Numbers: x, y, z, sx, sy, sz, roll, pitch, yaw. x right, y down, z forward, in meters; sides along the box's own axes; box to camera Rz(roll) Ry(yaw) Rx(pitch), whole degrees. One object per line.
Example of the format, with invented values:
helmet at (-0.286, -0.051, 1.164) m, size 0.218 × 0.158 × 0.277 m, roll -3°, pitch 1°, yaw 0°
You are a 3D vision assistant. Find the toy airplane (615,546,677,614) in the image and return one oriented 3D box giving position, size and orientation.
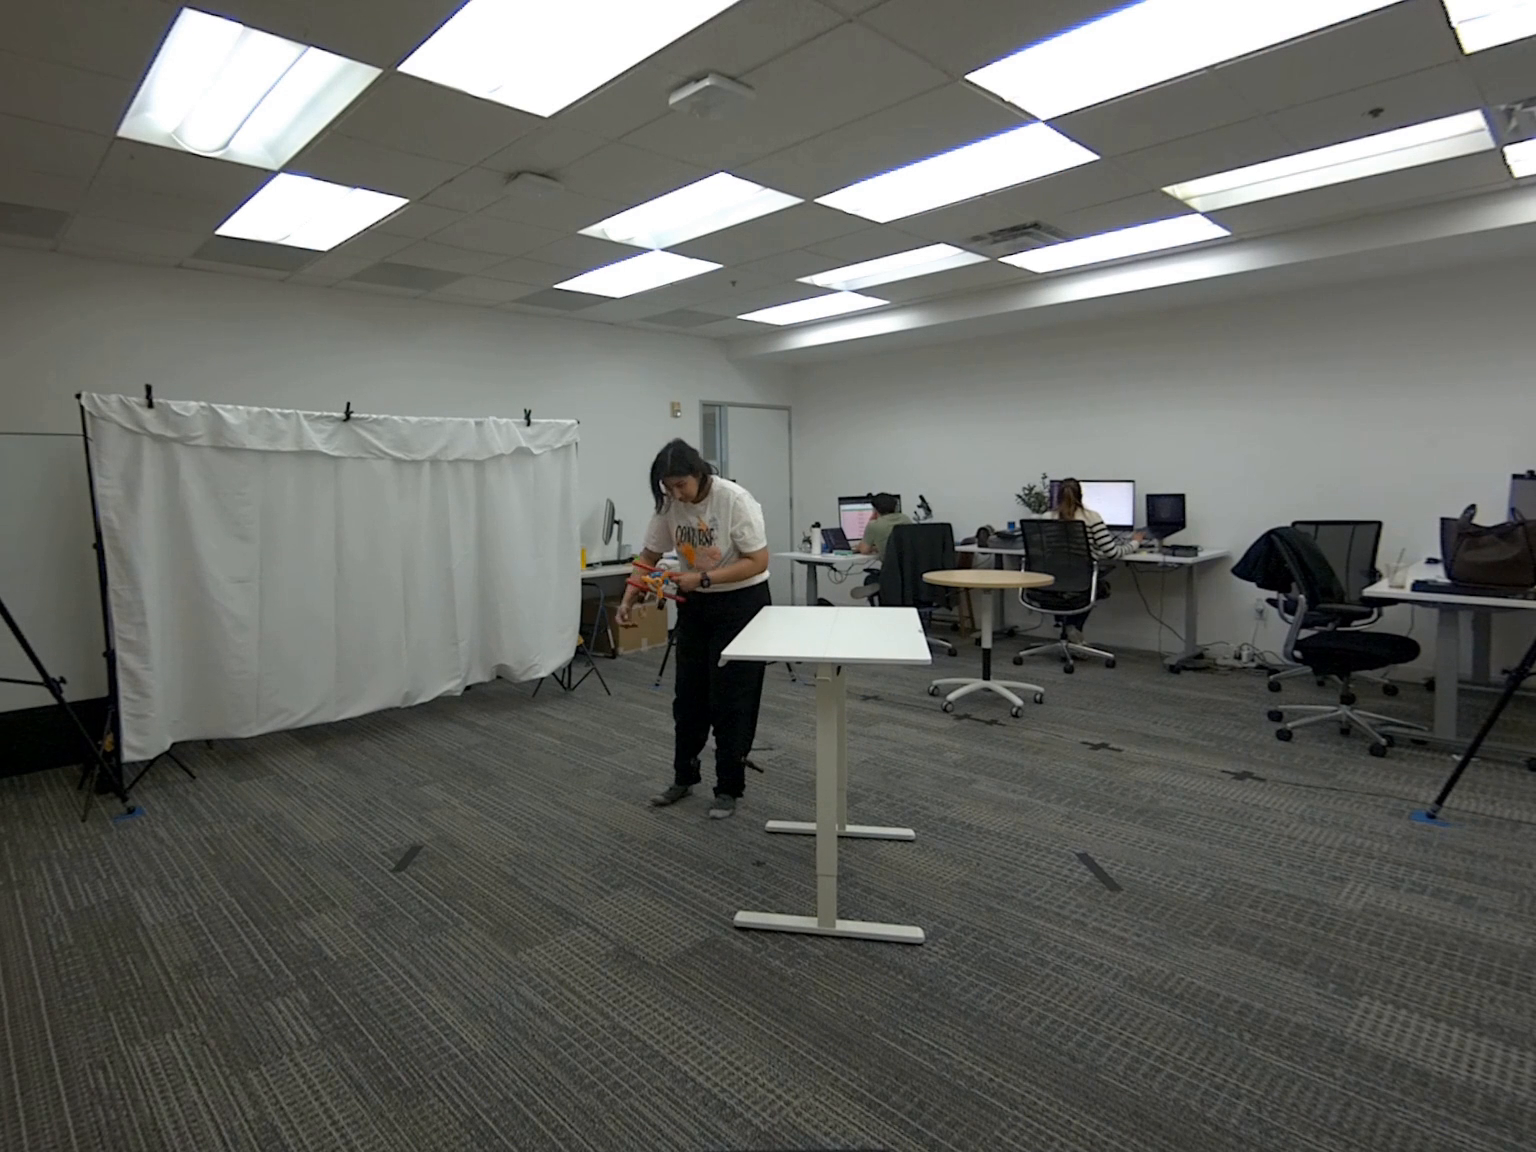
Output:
toy airplane at (-0.457, 0.017, 3.533) m, size 0.244 × 0.155 × 0.268 m, roll 12°, pitch 15°, yaw -30°
